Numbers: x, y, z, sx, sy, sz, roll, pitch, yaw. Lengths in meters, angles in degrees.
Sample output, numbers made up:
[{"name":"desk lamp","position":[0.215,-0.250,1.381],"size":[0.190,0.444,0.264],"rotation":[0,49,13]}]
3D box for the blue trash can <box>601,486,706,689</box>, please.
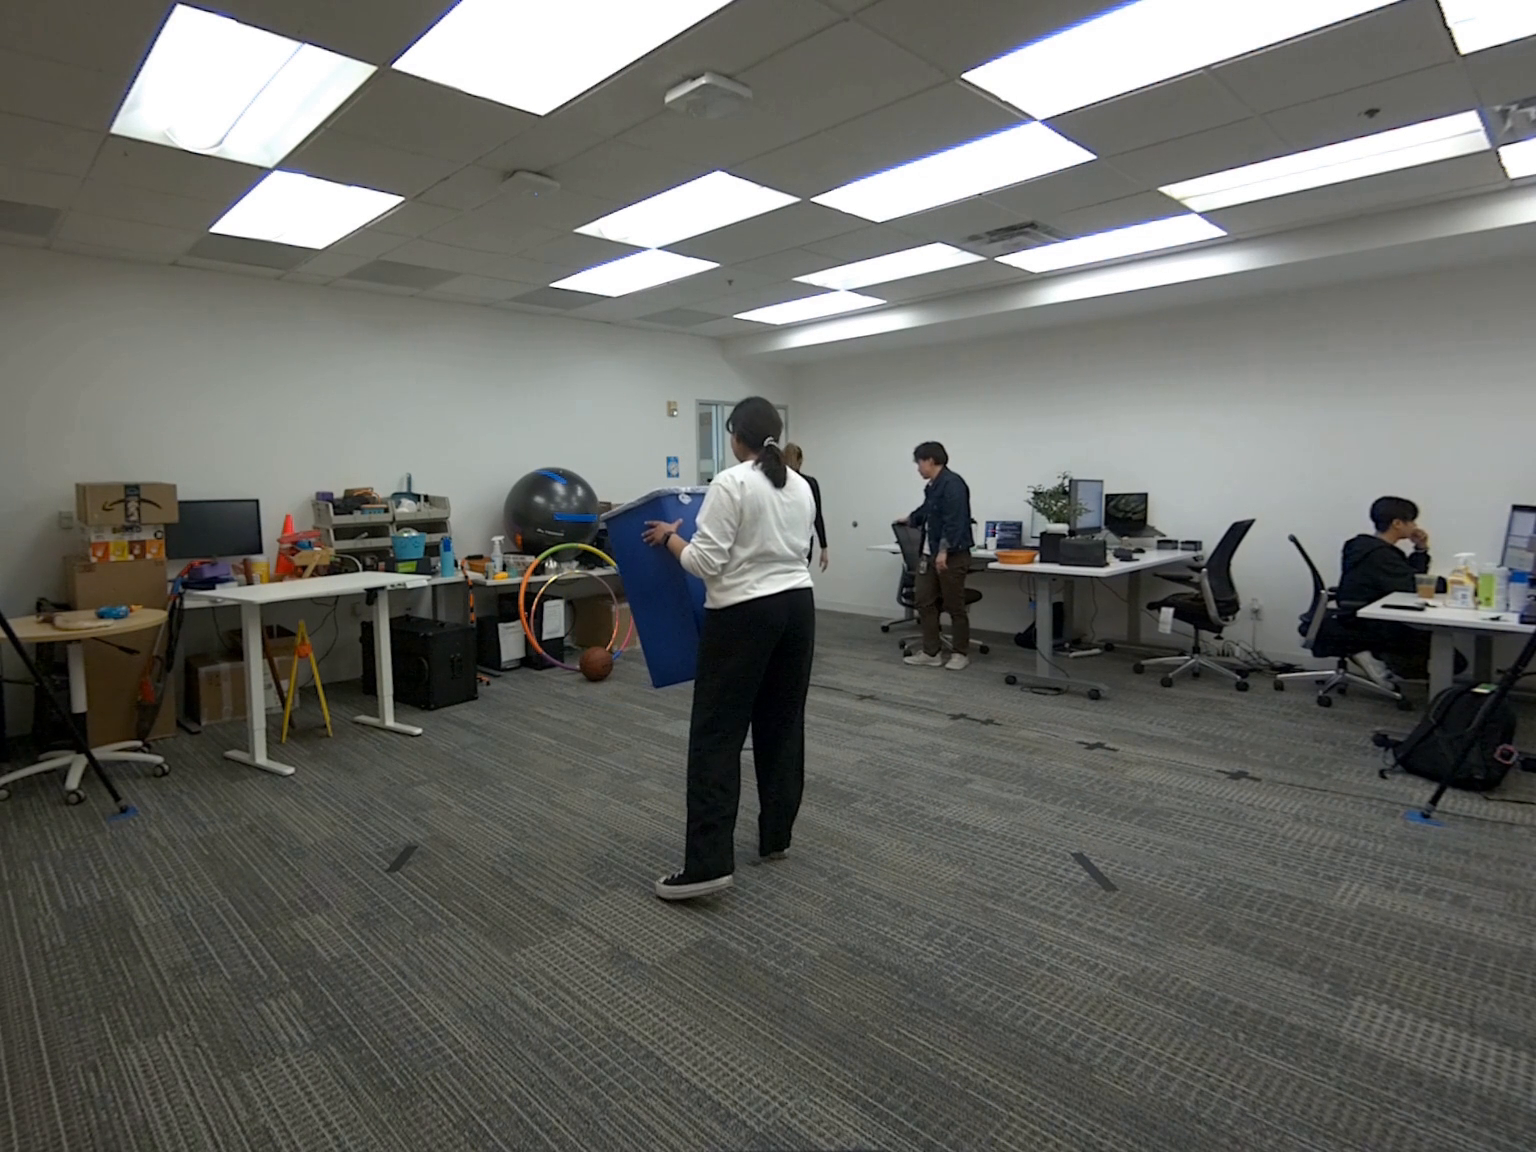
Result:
[{"name":"blue trash can","position":[-0.347,0.043,3.375],"size":[0.380,0.719,0.368],"rotation":[-20,-8,36]}]
